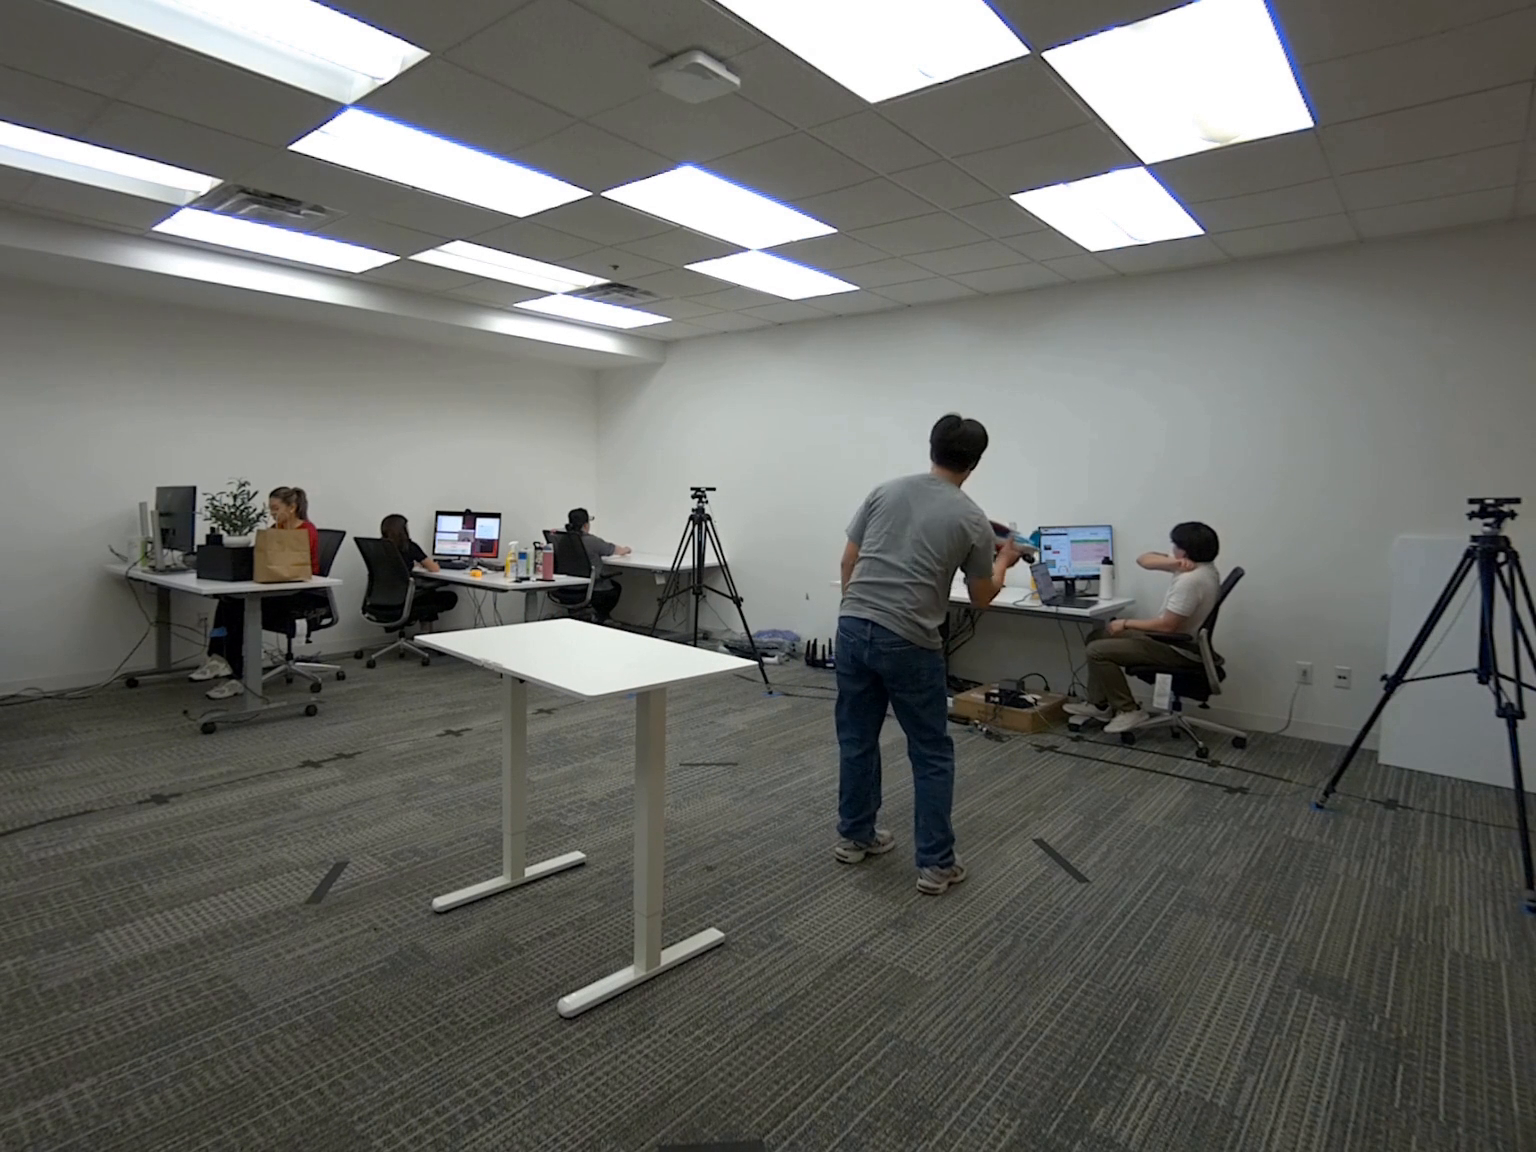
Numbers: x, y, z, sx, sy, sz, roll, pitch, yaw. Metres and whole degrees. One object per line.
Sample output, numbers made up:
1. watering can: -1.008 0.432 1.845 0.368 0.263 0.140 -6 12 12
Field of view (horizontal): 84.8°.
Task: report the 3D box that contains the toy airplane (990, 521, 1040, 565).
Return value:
1. toy airplane: 0.942 -0.123 3.381 0.263 0.157 0.246 4 -5 11
